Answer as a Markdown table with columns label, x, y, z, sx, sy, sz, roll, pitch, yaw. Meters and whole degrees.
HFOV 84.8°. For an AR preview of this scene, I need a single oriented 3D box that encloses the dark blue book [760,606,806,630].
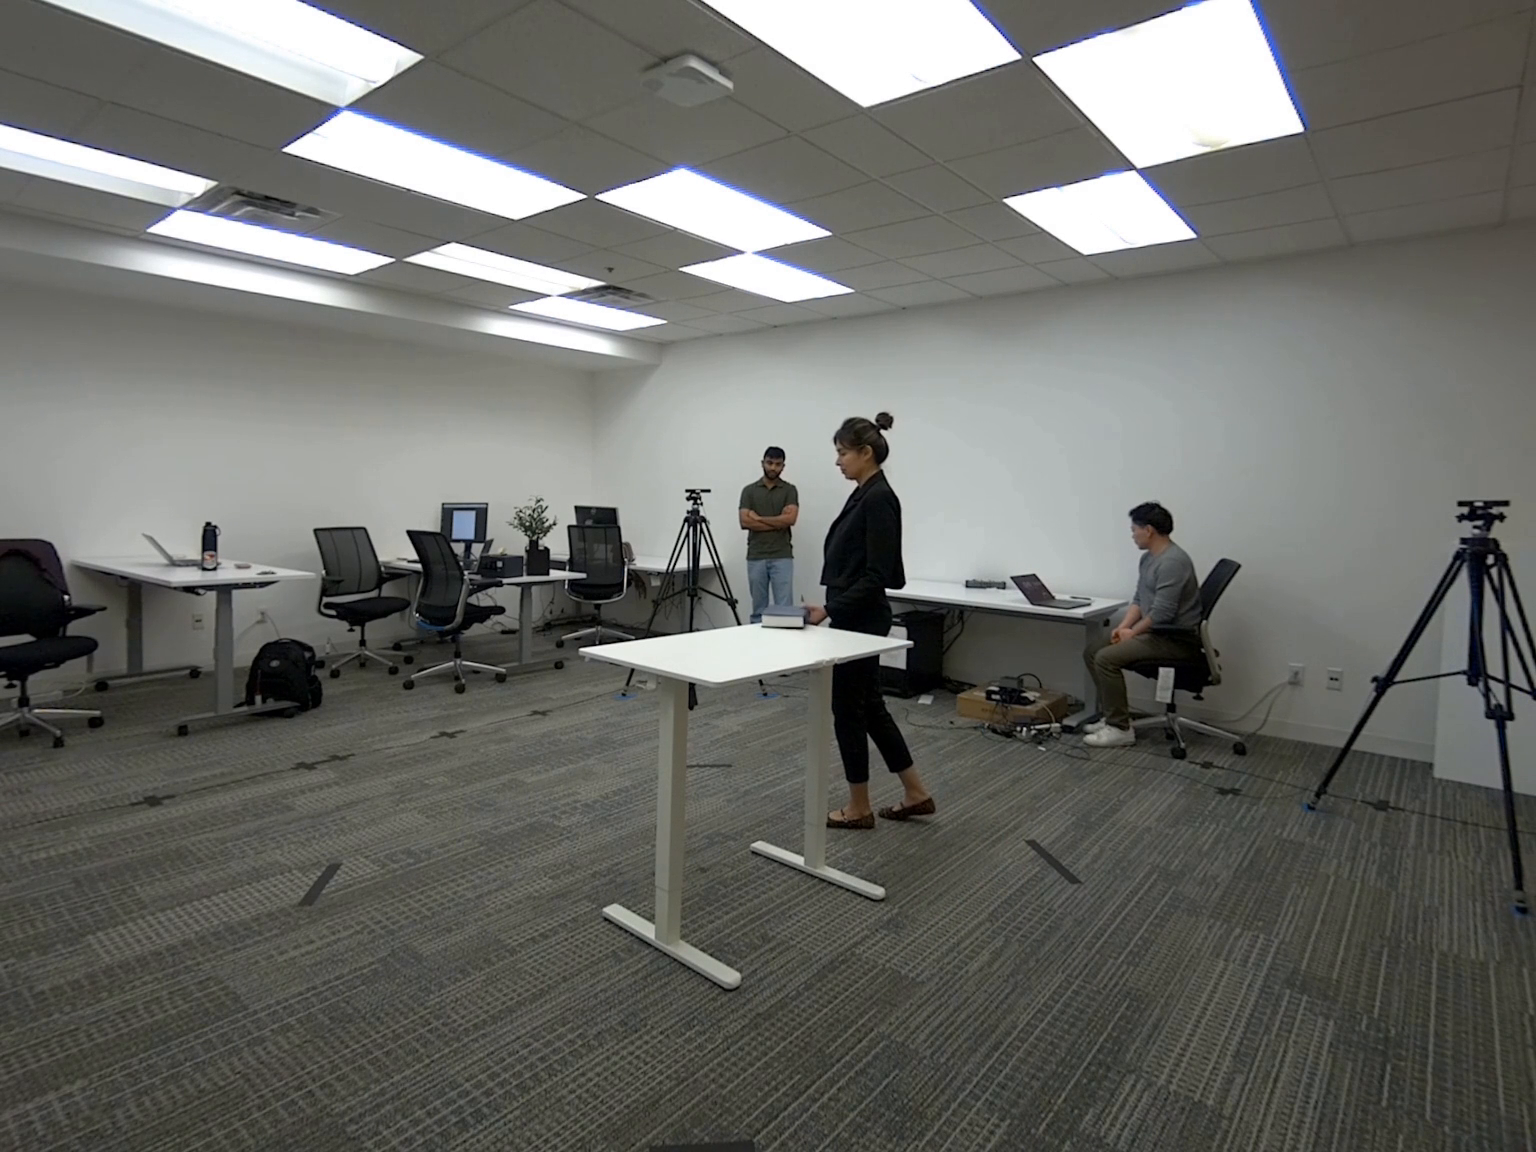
| label | x | y | z | sx | sy | sz | roll | pitch | yaw |
| --- | --- | --- | --- | --- | --- | --- | --- | --- | --- |
| dark blue book | 0.056 | 0.139 | 3.275 | 0.165 | 0.045 | 0.243 | 3 | 6 | 8 |
